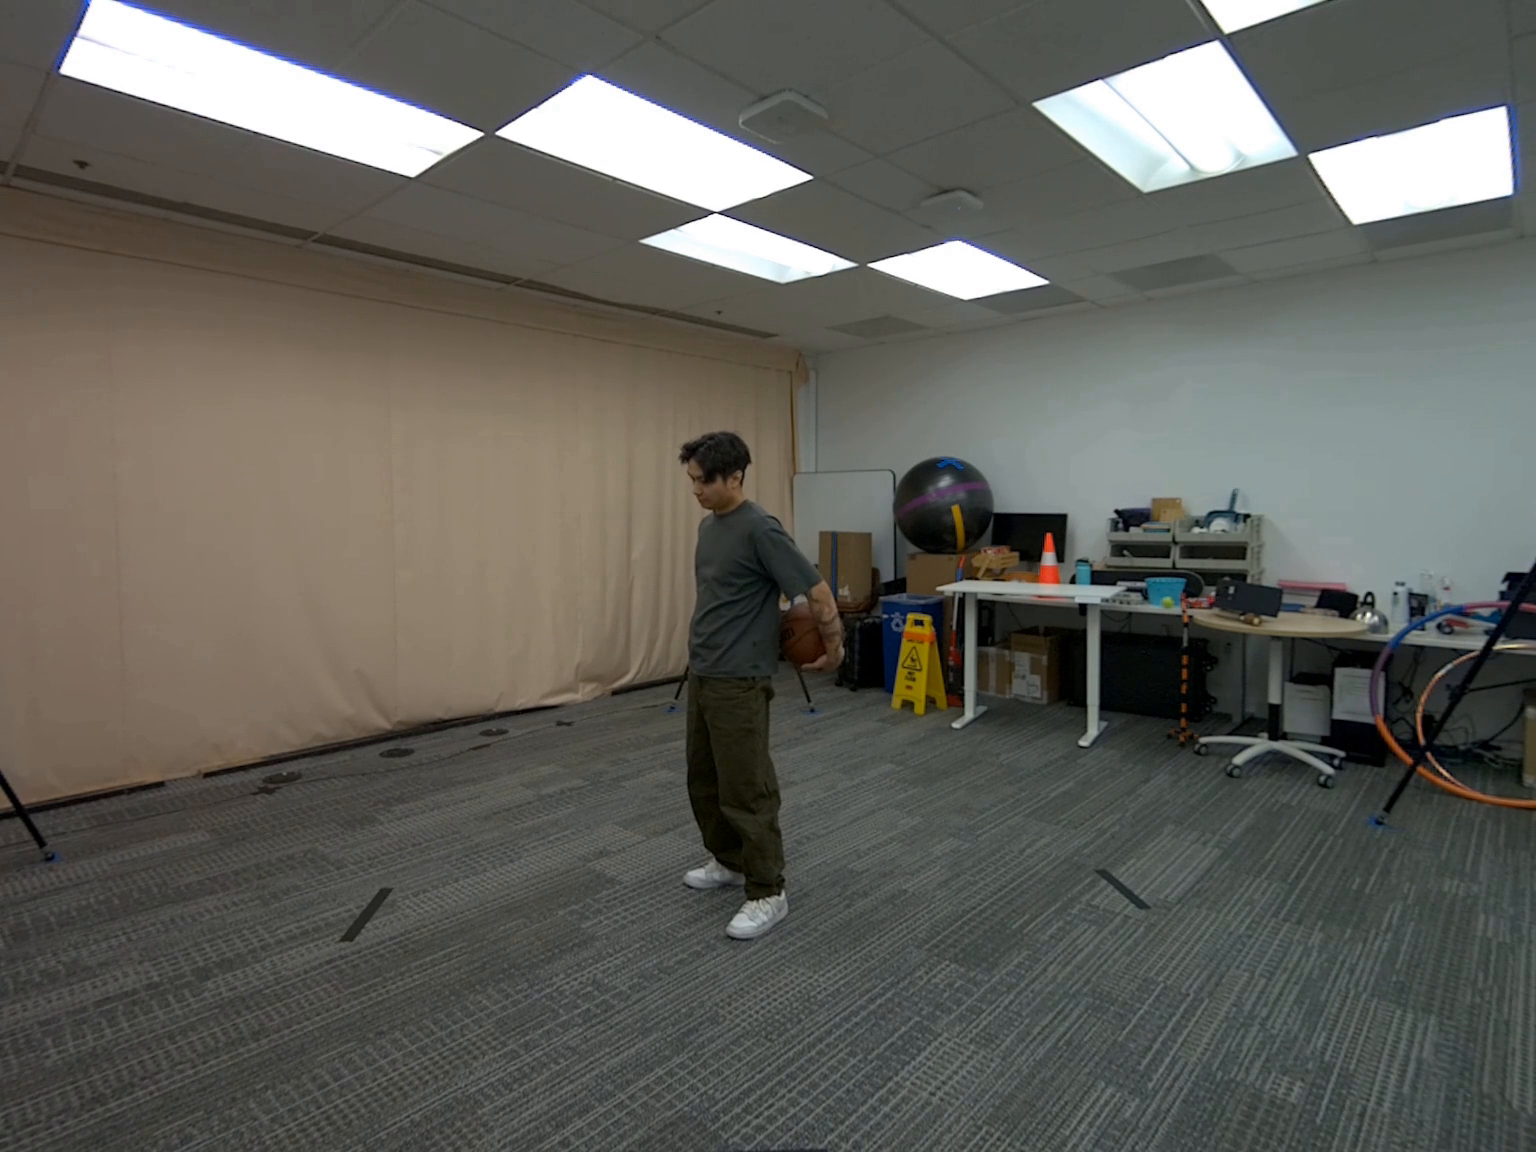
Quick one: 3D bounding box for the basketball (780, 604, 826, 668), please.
[{"bbox_3d":[0.133,0.204,2.949,0.236,0.235,0.237,0,4,-2],"label":"basketball"}]
